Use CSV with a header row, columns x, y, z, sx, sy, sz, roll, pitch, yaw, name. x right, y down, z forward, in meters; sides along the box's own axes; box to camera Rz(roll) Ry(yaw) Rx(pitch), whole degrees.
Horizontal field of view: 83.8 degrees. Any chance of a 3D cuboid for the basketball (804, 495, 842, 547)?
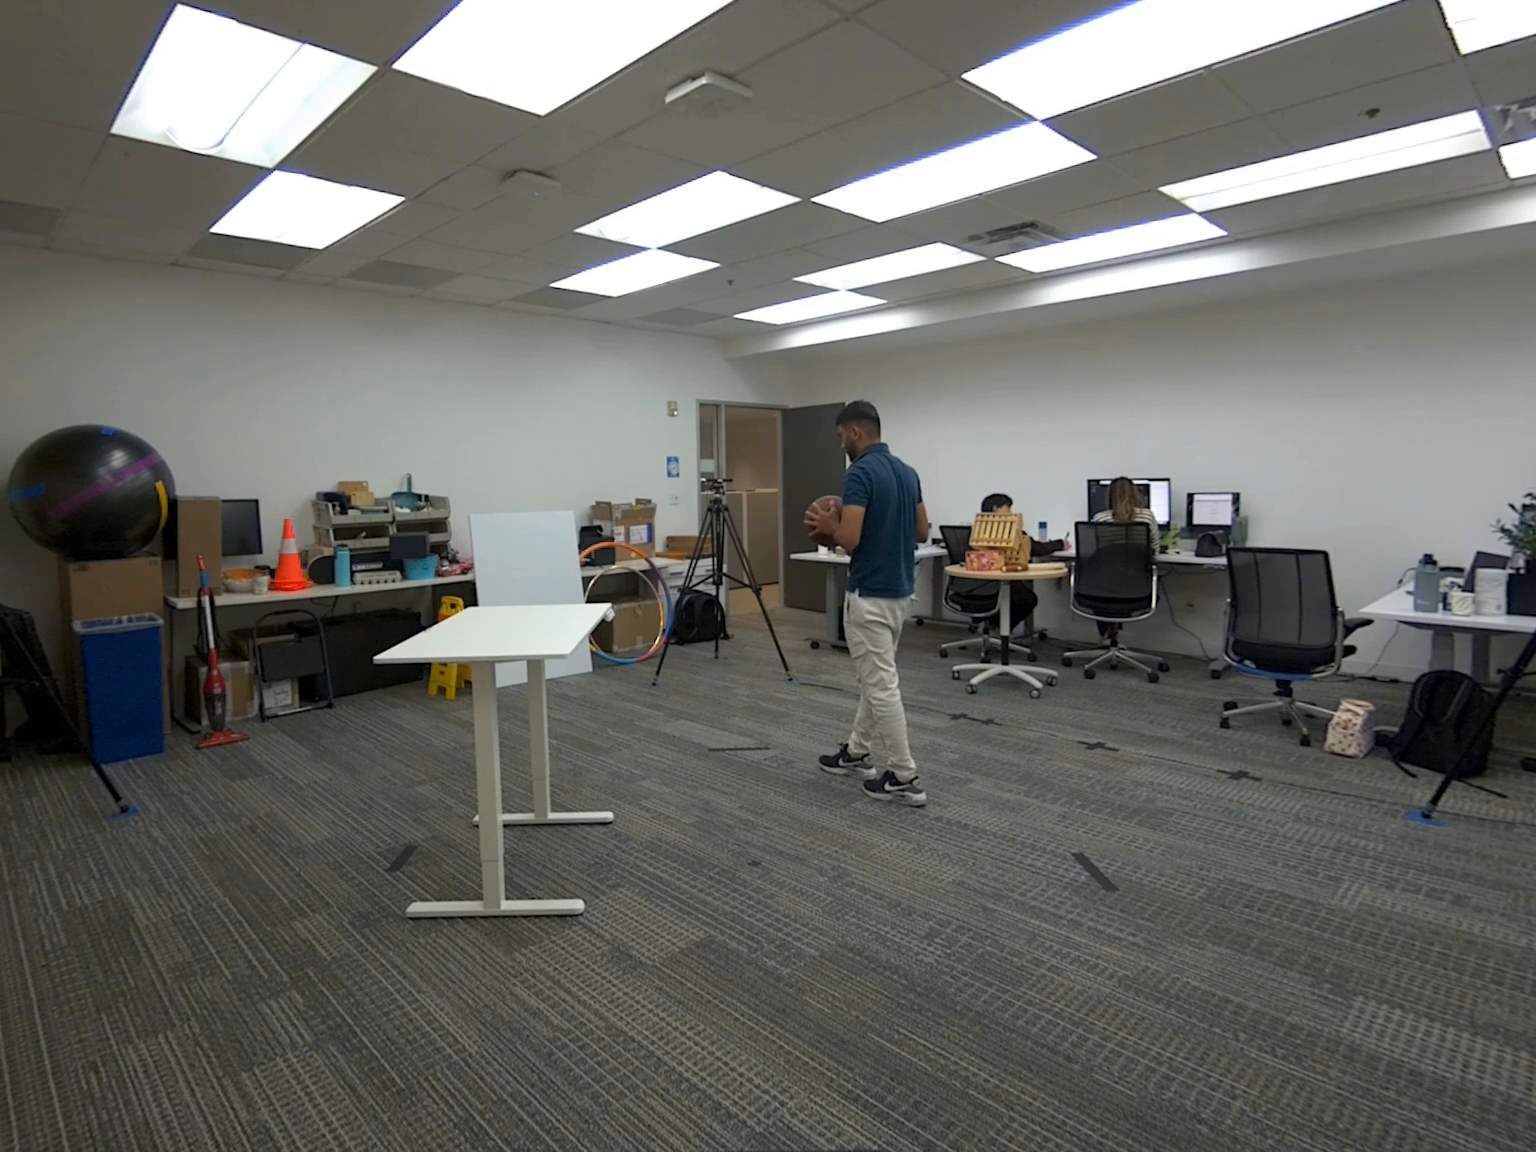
x,y,z,sx,sy,sz,roll,pitch,yaw,name
0.289,-0.256,3.940,0.236,0.235,0.237,-1,5,-2,basketball
